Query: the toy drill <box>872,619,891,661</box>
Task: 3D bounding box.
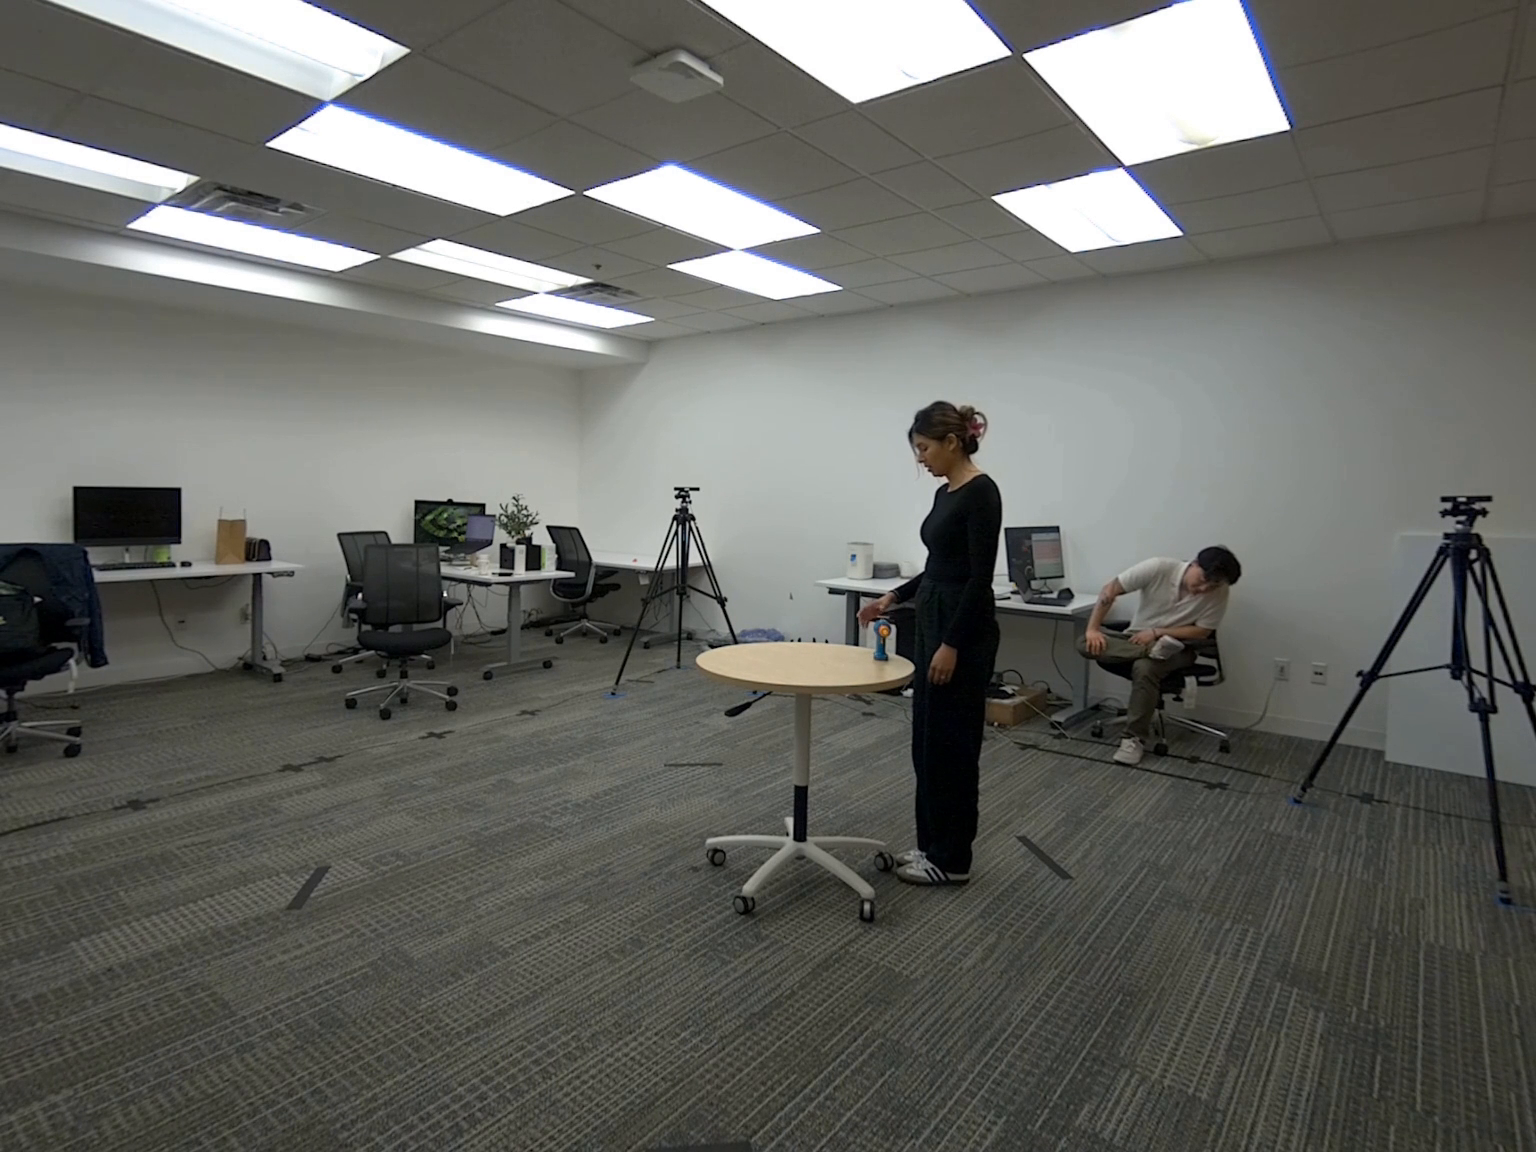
[{"bbox_3d":[0.405,0.228,3.042,0.061,0.145,0.171,3,4,-6],"label":"toy drill"}]
